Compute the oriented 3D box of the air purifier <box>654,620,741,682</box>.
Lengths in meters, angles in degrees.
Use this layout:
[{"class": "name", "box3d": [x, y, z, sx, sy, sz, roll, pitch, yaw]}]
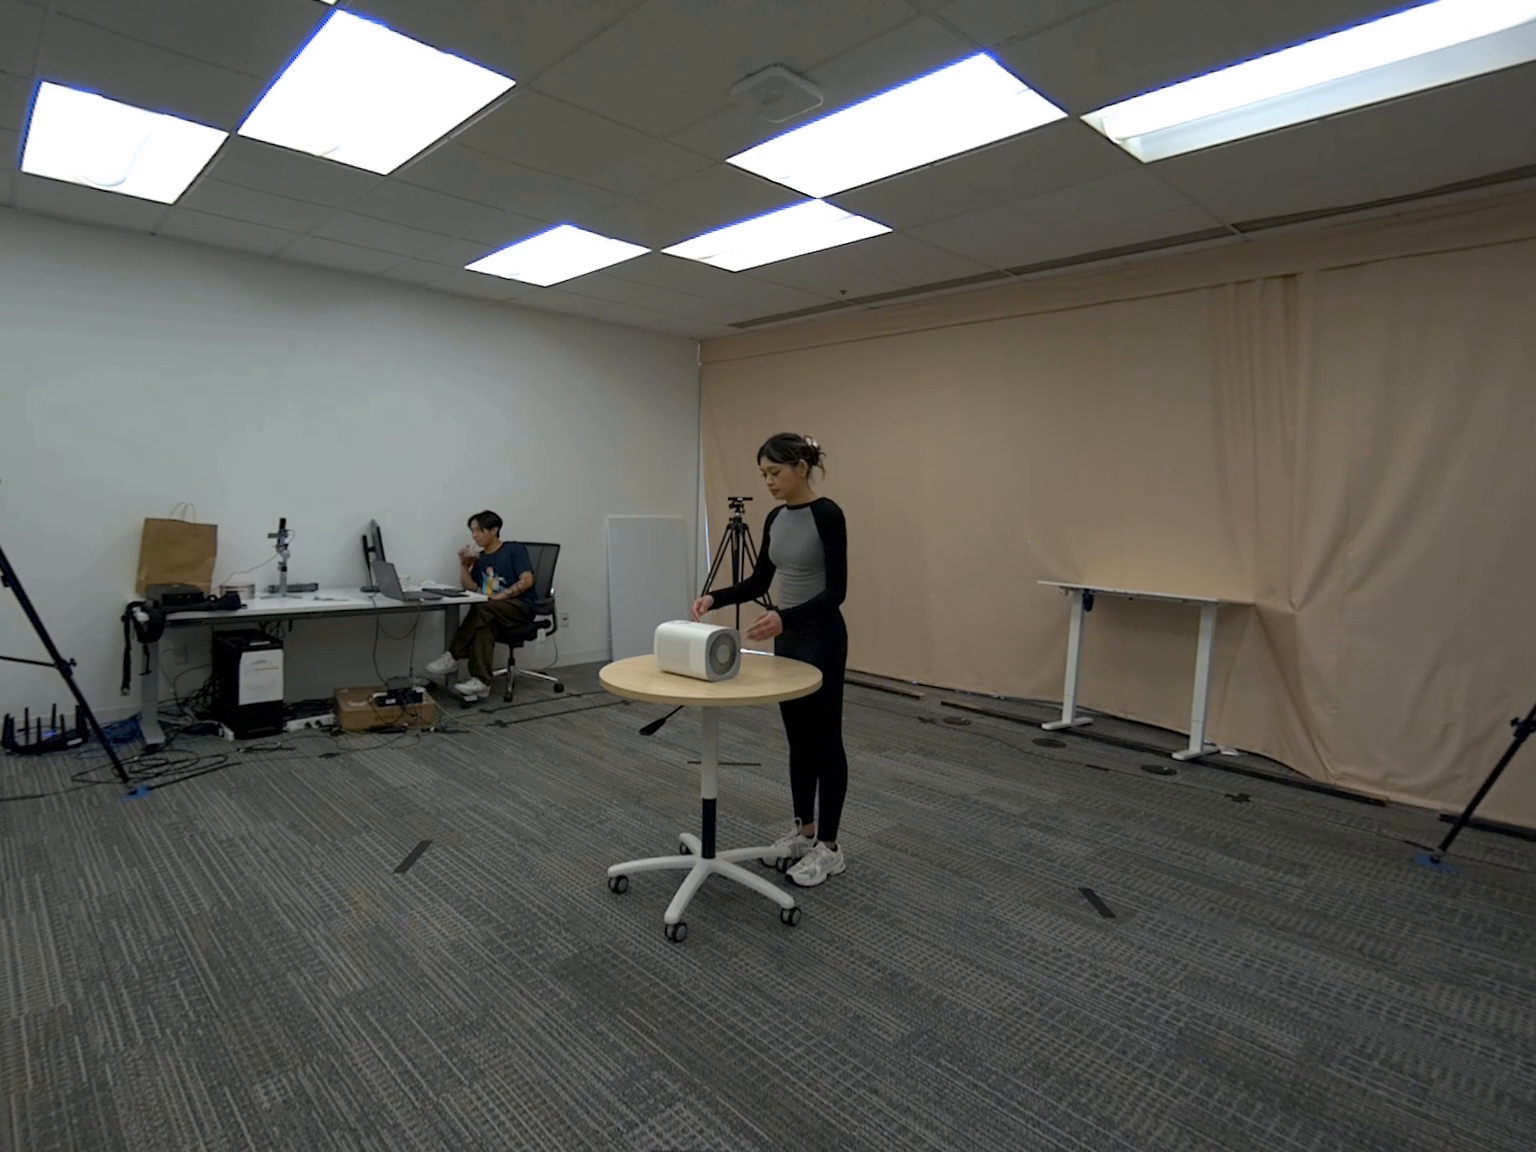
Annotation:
[{"class": "air purifier", "box3d": [-0.250, 0.248, 2.851, 0.272, 0.171, 0.167, 5, 7, 41]}]
